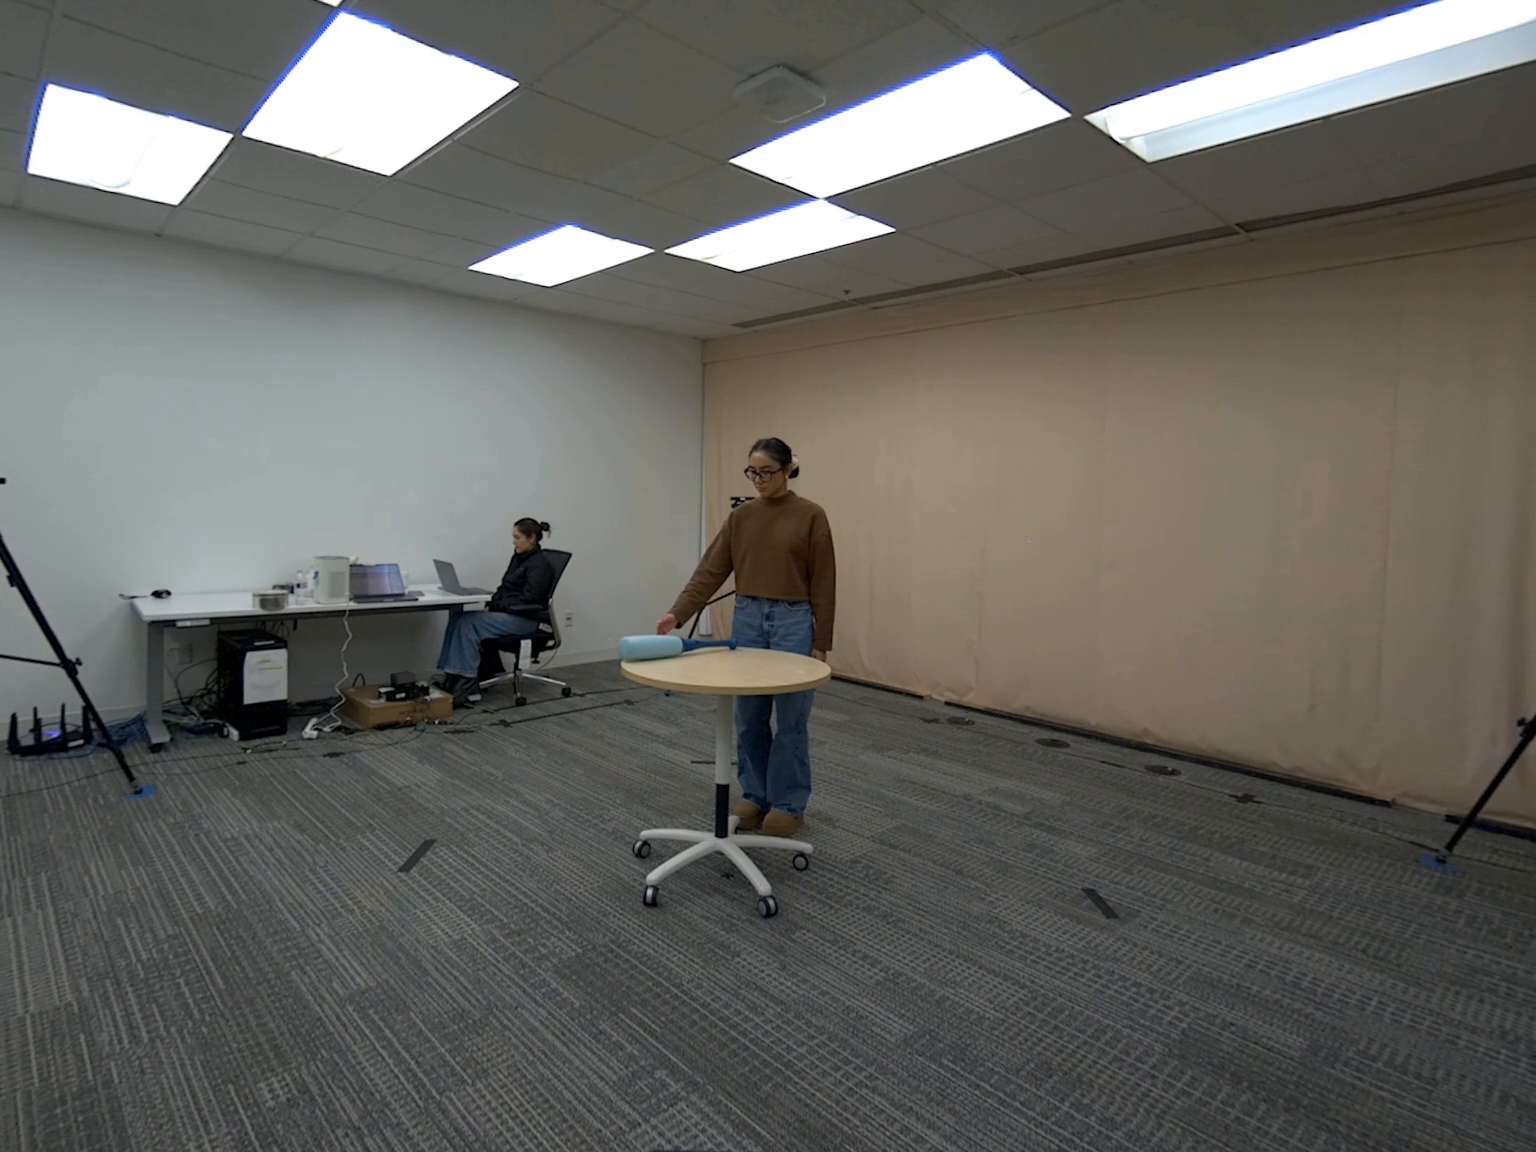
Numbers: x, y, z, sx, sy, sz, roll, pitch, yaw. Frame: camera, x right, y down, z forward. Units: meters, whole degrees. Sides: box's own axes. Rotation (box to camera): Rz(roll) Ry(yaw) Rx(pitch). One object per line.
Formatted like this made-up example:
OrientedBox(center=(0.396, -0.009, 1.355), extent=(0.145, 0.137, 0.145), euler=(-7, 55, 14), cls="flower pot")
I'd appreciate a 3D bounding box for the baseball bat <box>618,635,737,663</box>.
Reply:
OrientedBox(center=(-0.337, 0.272, 3.240), extent=(0.530, 0.089, 0.091), euler=(2, 3, -41), cls="baseball bat")
